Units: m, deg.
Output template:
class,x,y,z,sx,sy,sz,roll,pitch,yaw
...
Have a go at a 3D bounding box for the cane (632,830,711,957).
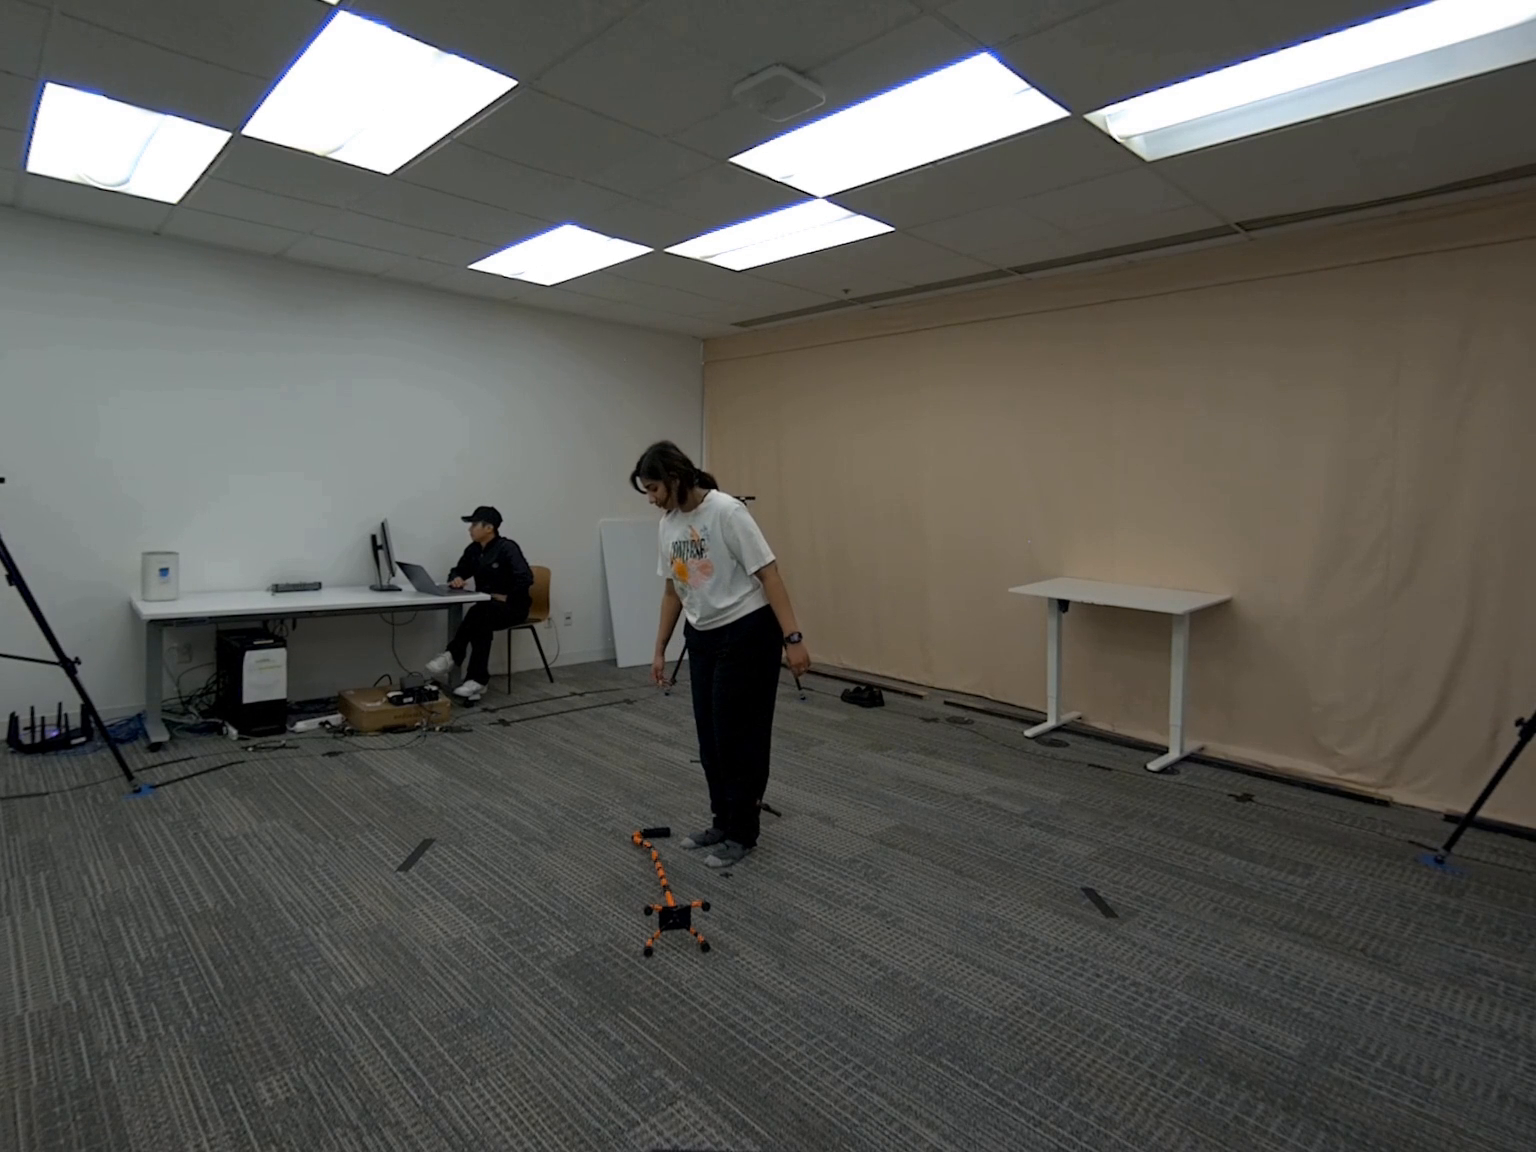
class,x,y,z,sx,sy,sz,roll,pitch,yaw
cane,-0.389,1.060,2.993,0.204,0.152,0.917,0,0,-14
